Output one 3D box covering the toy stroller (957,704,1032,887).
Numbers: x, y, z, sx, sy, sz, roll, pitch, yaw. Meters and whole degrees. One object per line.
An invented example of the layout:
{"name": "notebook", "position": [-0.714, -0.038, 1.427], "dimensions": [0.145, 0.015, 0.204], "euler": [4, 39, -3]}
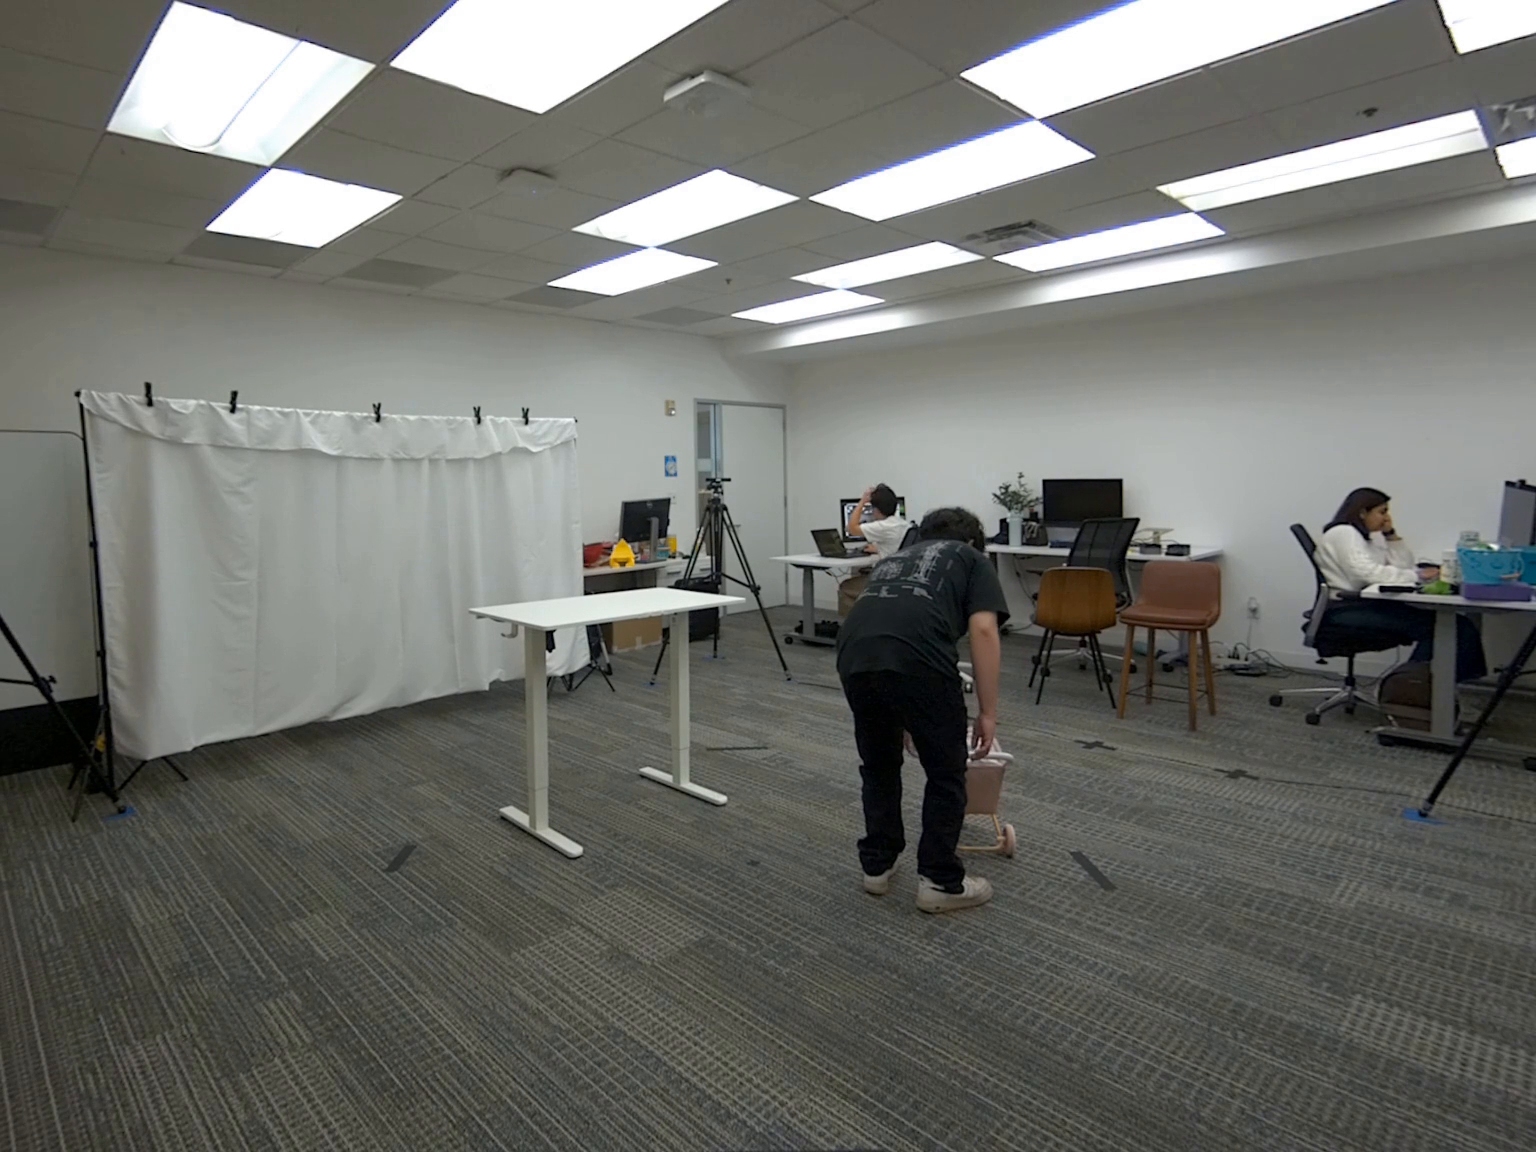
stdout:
{"name": "toy stroller", "position": [0.780, 0.802, 3.191], "dimensions": [0.284, 0.526, 0.344], "euler": [2, 19, 8]}
